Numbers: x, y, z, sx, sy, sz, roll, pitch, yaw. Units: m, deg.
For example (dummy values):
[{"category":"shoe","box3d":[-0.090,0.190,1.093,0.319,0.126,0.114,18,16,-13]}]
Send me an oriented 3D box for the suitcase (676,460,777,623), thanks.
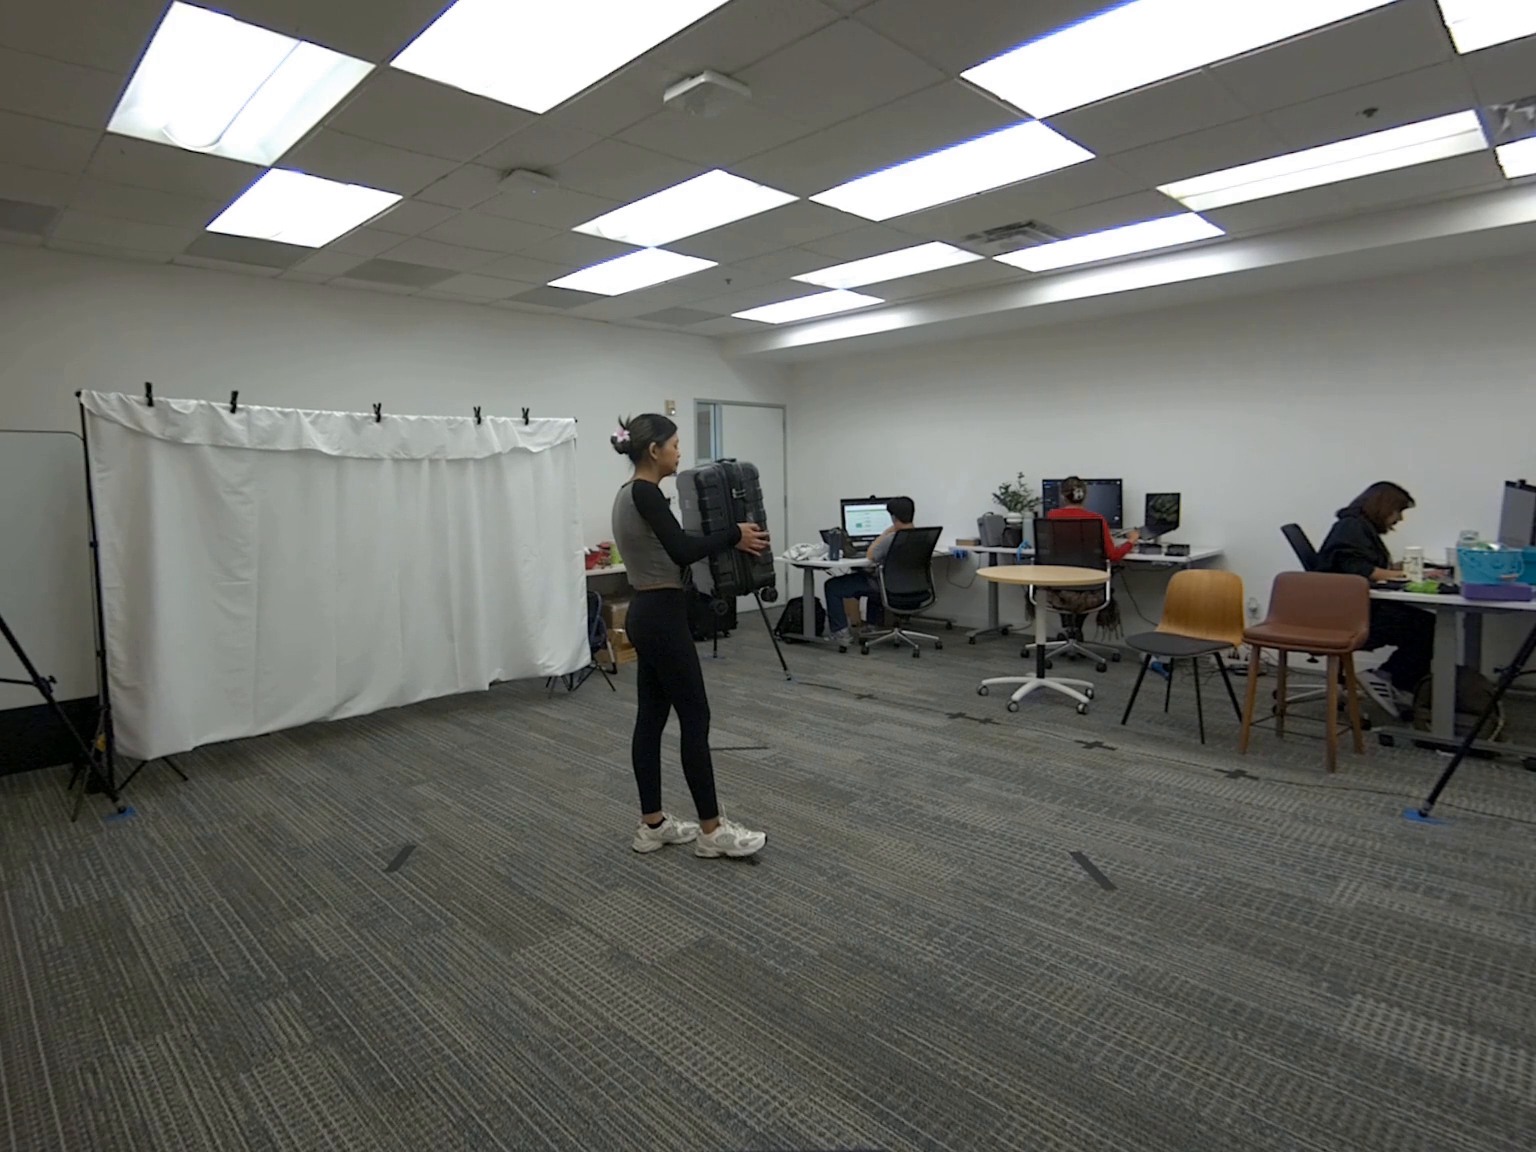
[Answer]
[{"category":"suitcase","box3d":[-0.162,-0.173,3.290,0.245,0.545,0.383,-11,8,-19]}]
